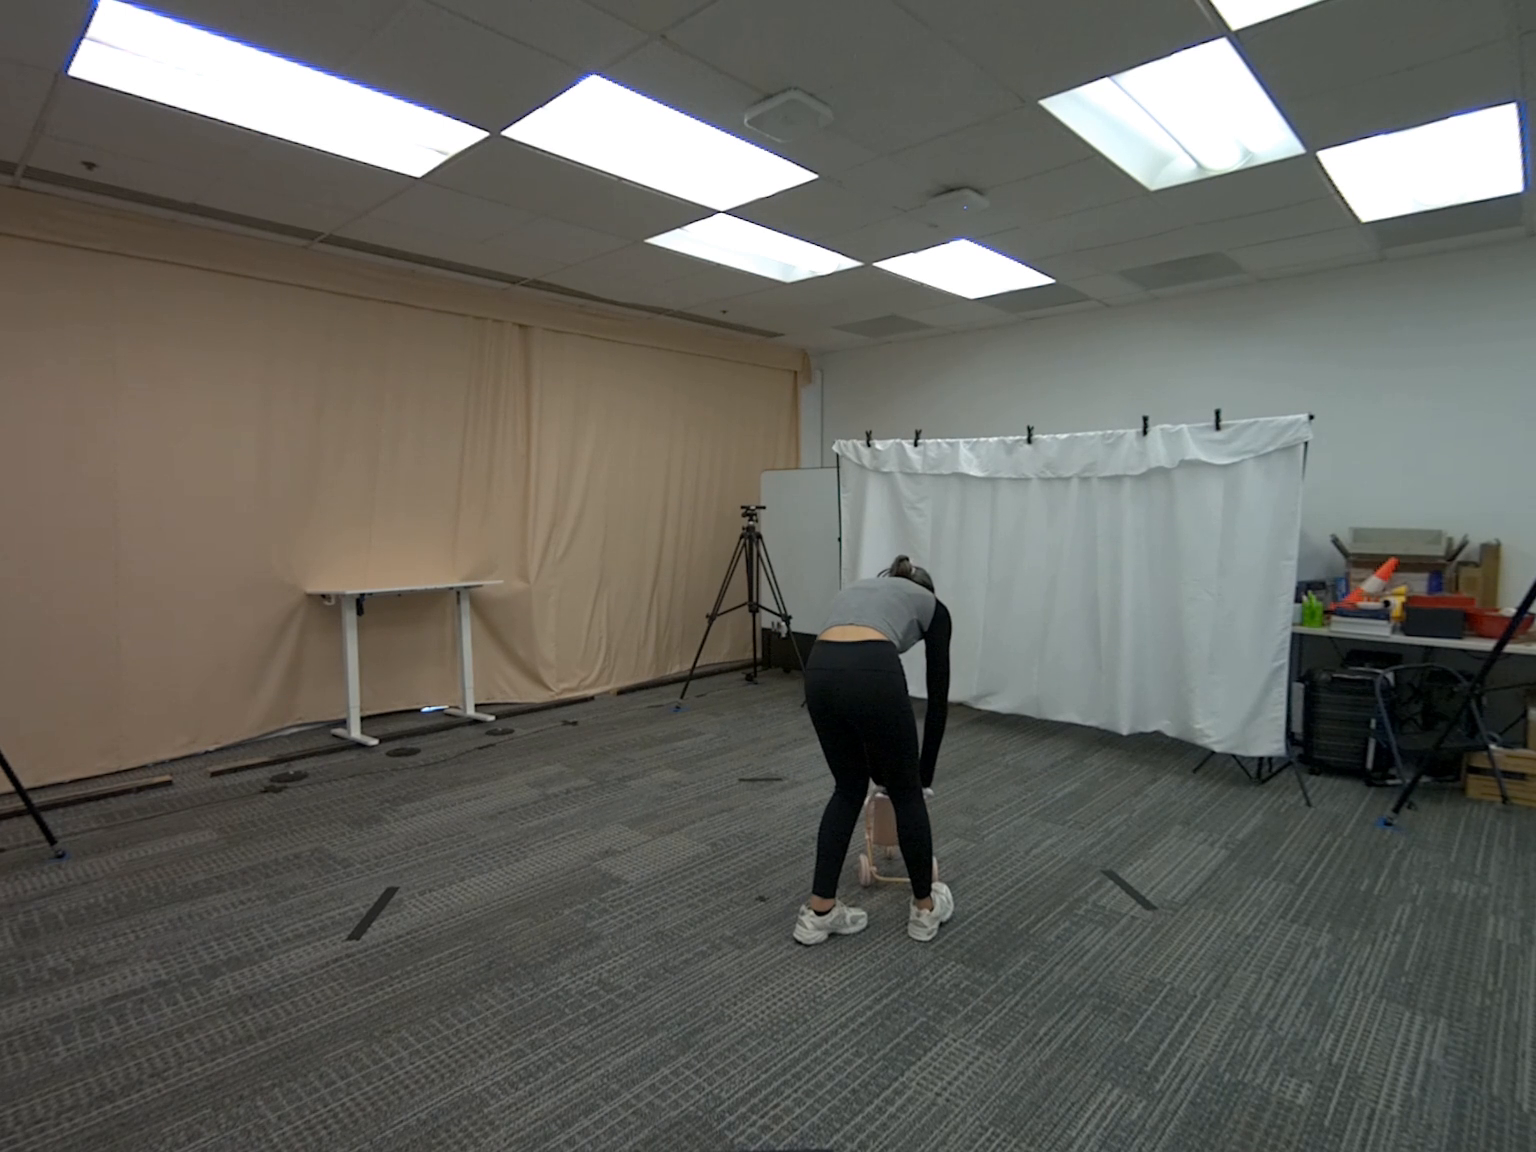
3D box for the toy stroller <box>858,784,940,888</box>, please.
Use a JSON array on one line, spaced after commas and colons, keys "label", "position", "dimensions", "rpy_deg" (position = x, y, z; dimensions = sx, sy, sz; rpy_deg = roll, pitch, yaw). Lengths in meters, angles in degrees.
[{"label": "toy stroller", "position": [0.486, 0.910, 3.137], "dimensions": [0.283, 0.529, 0.342], "rpy_deg": [1, 18, 5]}]
